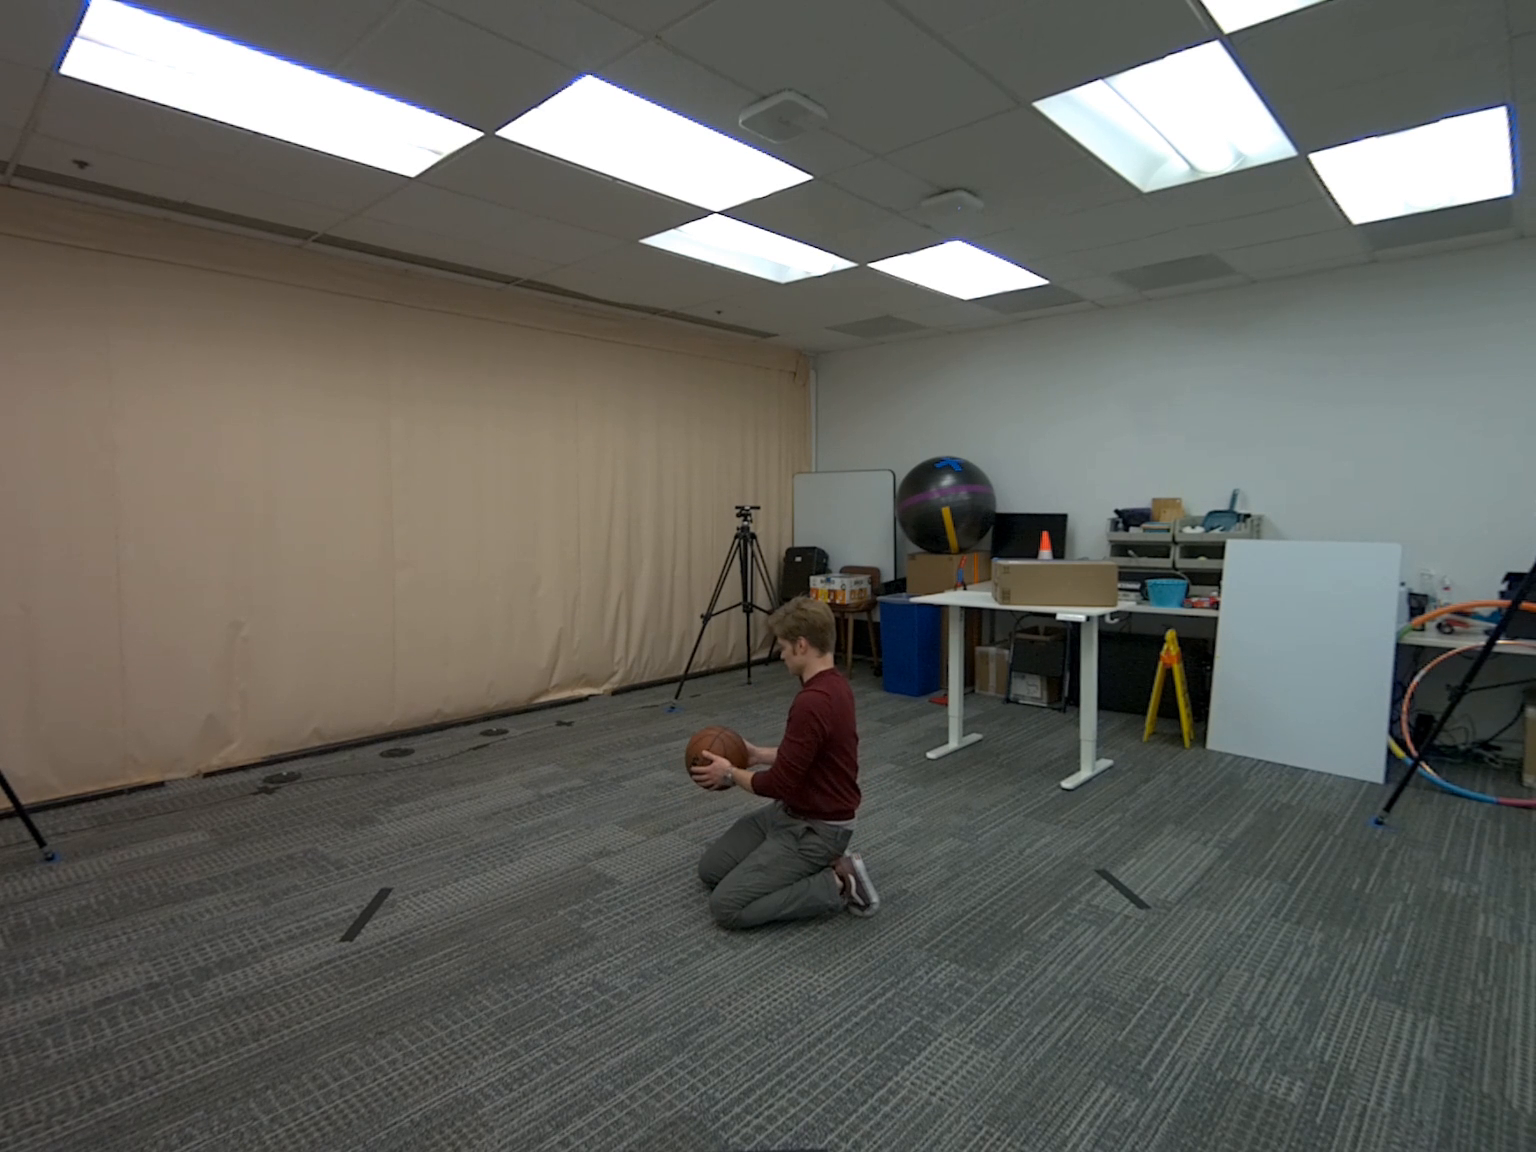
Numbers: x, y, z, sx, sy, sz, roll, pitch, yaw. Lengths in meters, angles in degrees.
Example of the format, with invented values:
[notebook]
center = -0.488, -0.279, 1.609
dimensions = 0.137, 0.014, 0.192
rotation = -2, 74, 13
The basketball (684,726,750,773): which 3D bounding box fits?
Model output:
[basketball]
center = -0.185, 0.689, 3.160
dimensions = 0.236, 0.235, 0.237
rotation = 0, 4, -2
